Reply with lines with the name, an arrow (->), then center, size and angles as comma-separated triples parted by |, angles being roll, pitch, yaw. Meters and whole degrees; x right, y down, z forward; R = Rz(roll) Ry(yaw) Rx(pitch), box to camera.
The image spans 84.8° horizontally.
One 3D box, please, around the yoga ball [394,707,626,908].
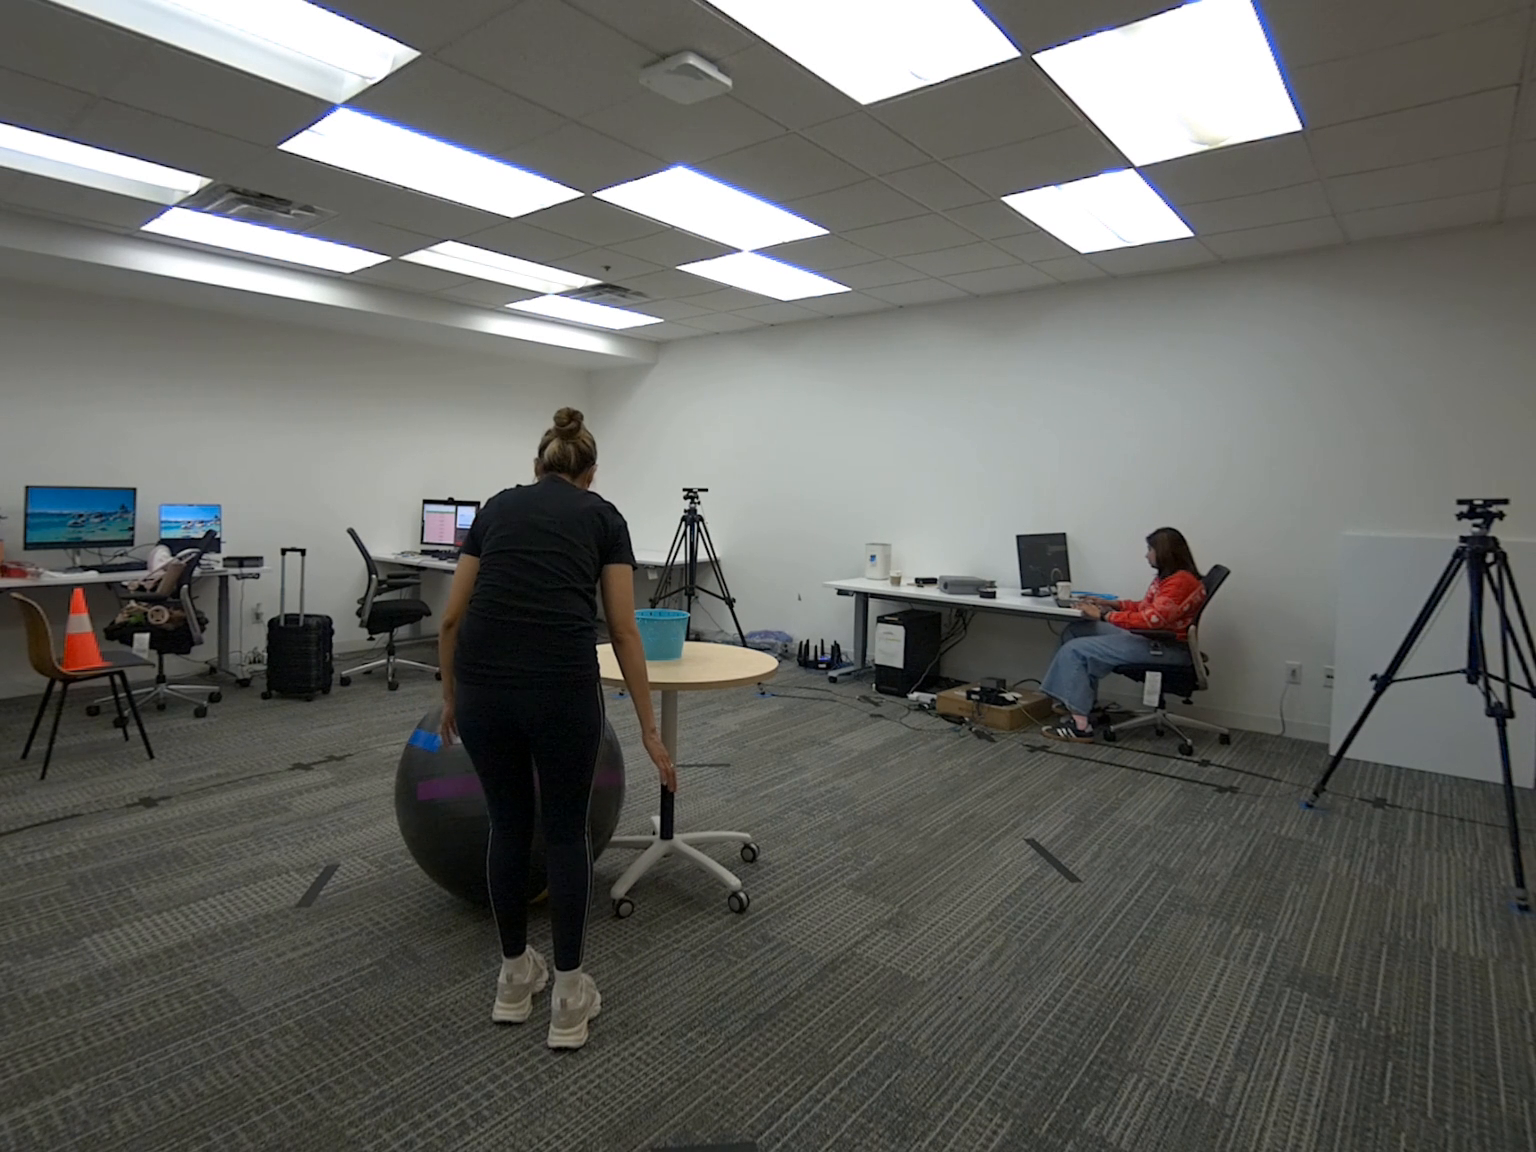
yoga ball -> -0.893, 0.711, 2.886 | 0.757, 0.756, 0.761 | 1, 4, -2
